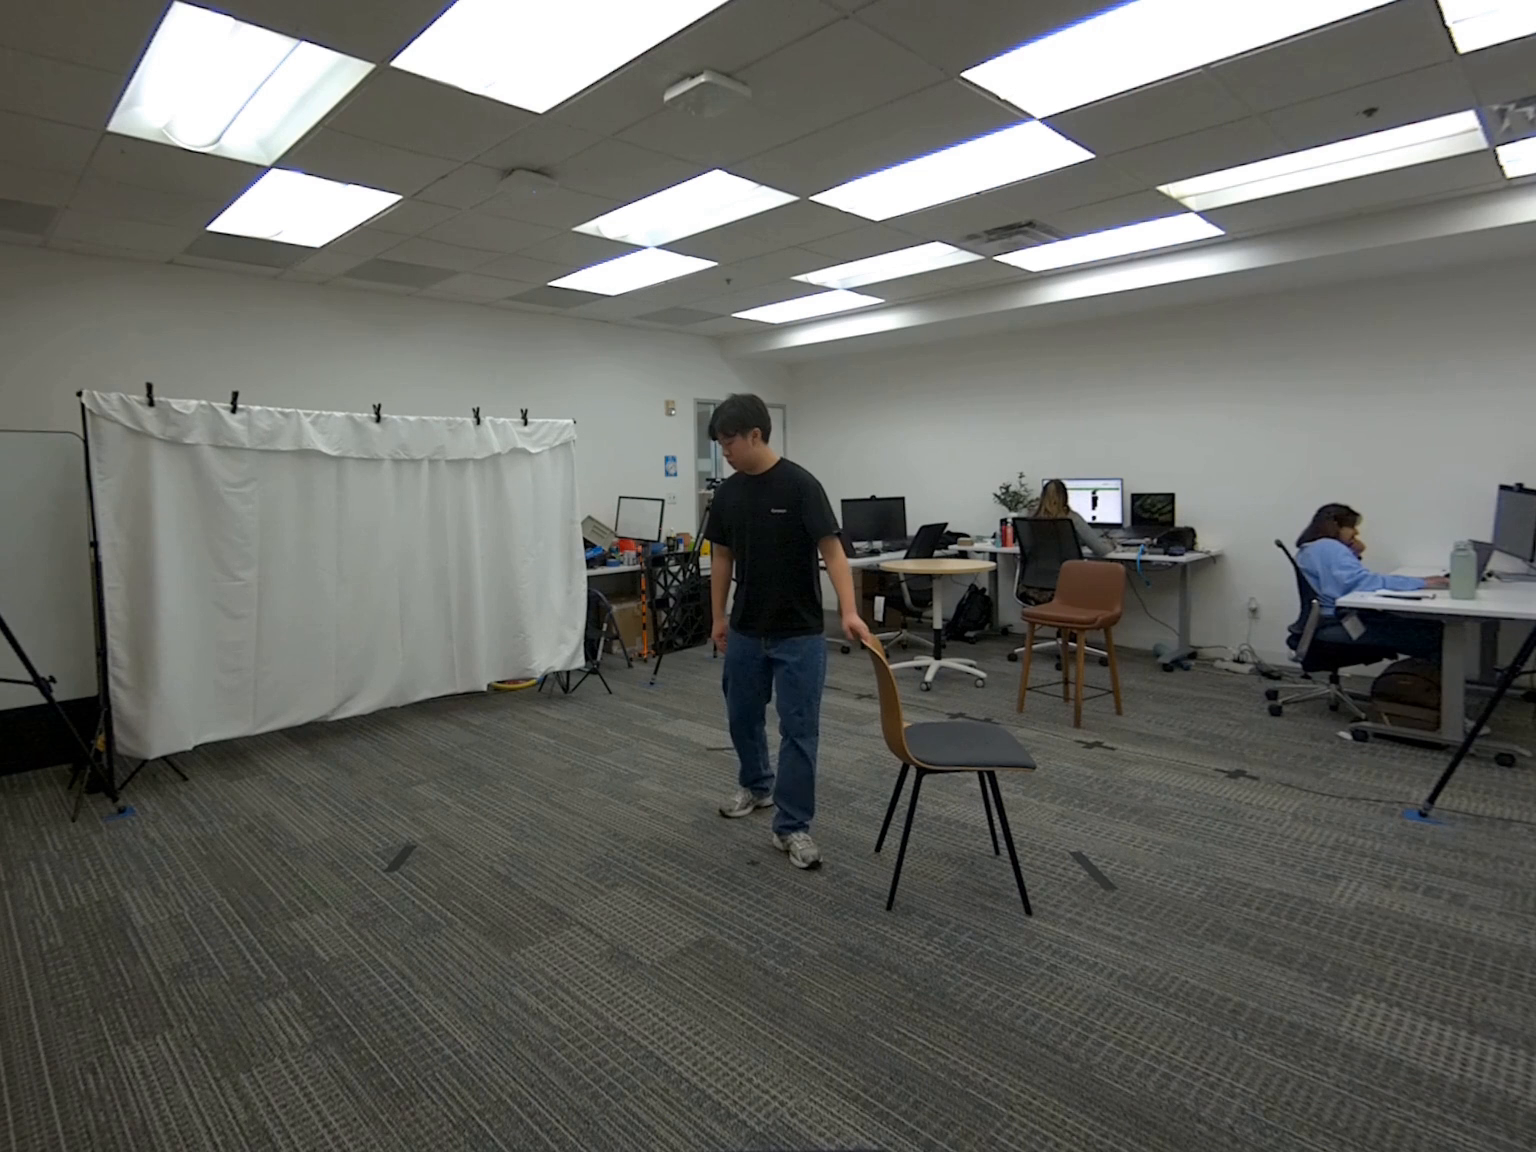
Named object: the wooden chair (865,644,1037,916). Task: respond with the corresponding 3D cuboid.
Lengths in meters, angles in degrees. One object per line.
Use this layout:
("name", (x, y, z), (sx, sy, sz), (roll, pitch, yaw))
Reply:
("wooden chair", (0.623, 0.622, 2.914), (0.525, 0.875, 0.478), (-5, 3, 4))
